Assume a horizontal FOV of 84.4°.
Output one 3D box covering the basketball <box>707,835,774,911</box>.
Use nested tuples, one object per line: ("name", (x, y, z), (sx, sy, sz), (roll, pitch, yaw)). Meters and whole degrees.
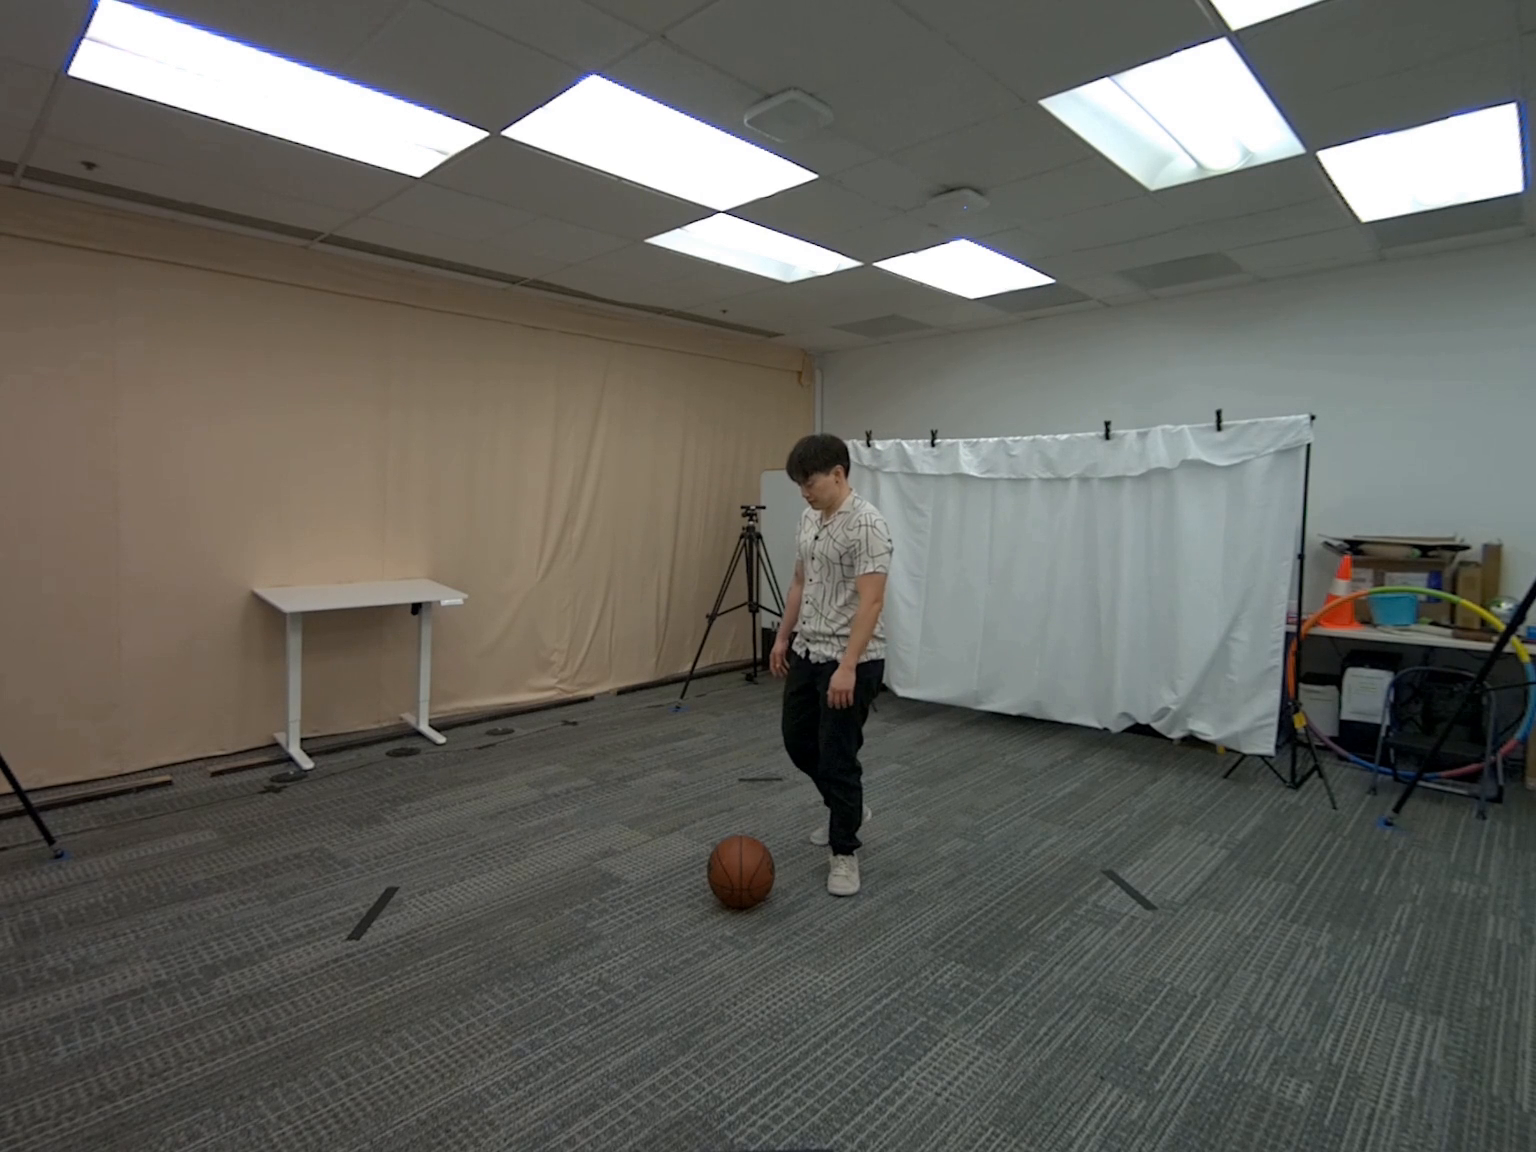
("basketball", (-0.093, 1.024, 2.937), (0.236, 0.235, 0.237), (0, 4, -2))
